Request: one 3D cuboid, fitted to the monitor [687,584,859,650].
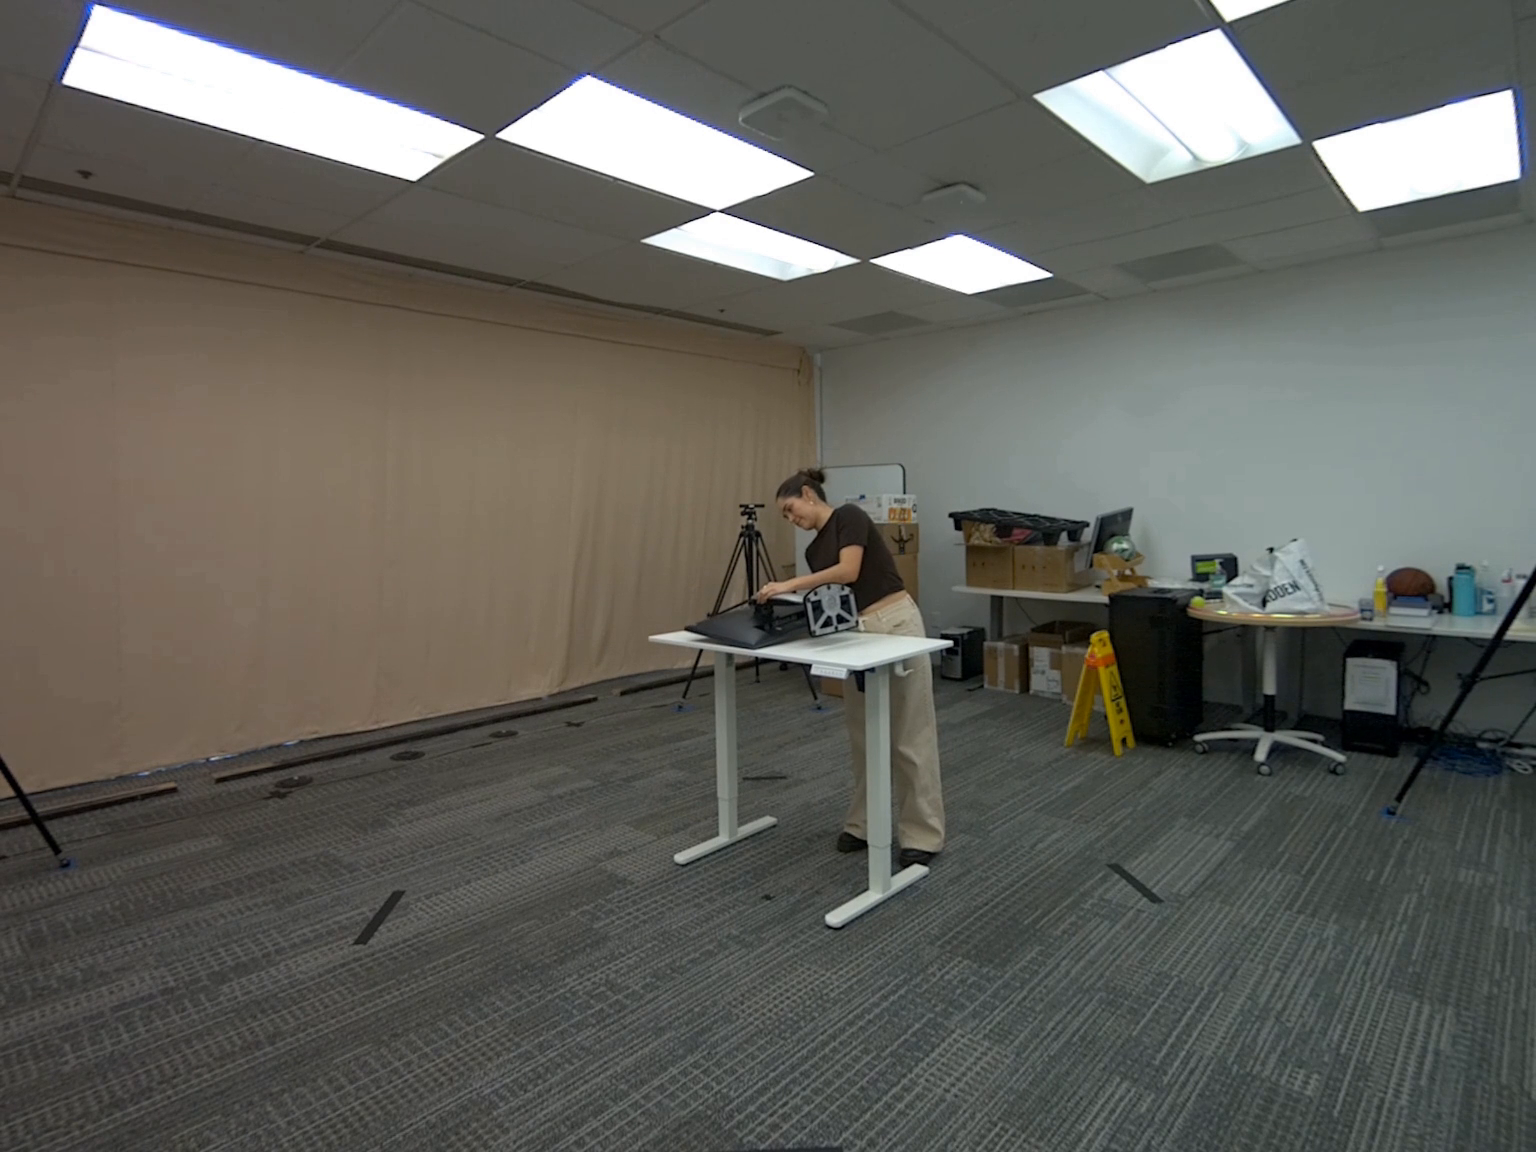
[{"bbox_3d":[0.052,0.145,3.178,0.523,0.187,0.537,-7,-3,-40],"label":"monitor"}]
